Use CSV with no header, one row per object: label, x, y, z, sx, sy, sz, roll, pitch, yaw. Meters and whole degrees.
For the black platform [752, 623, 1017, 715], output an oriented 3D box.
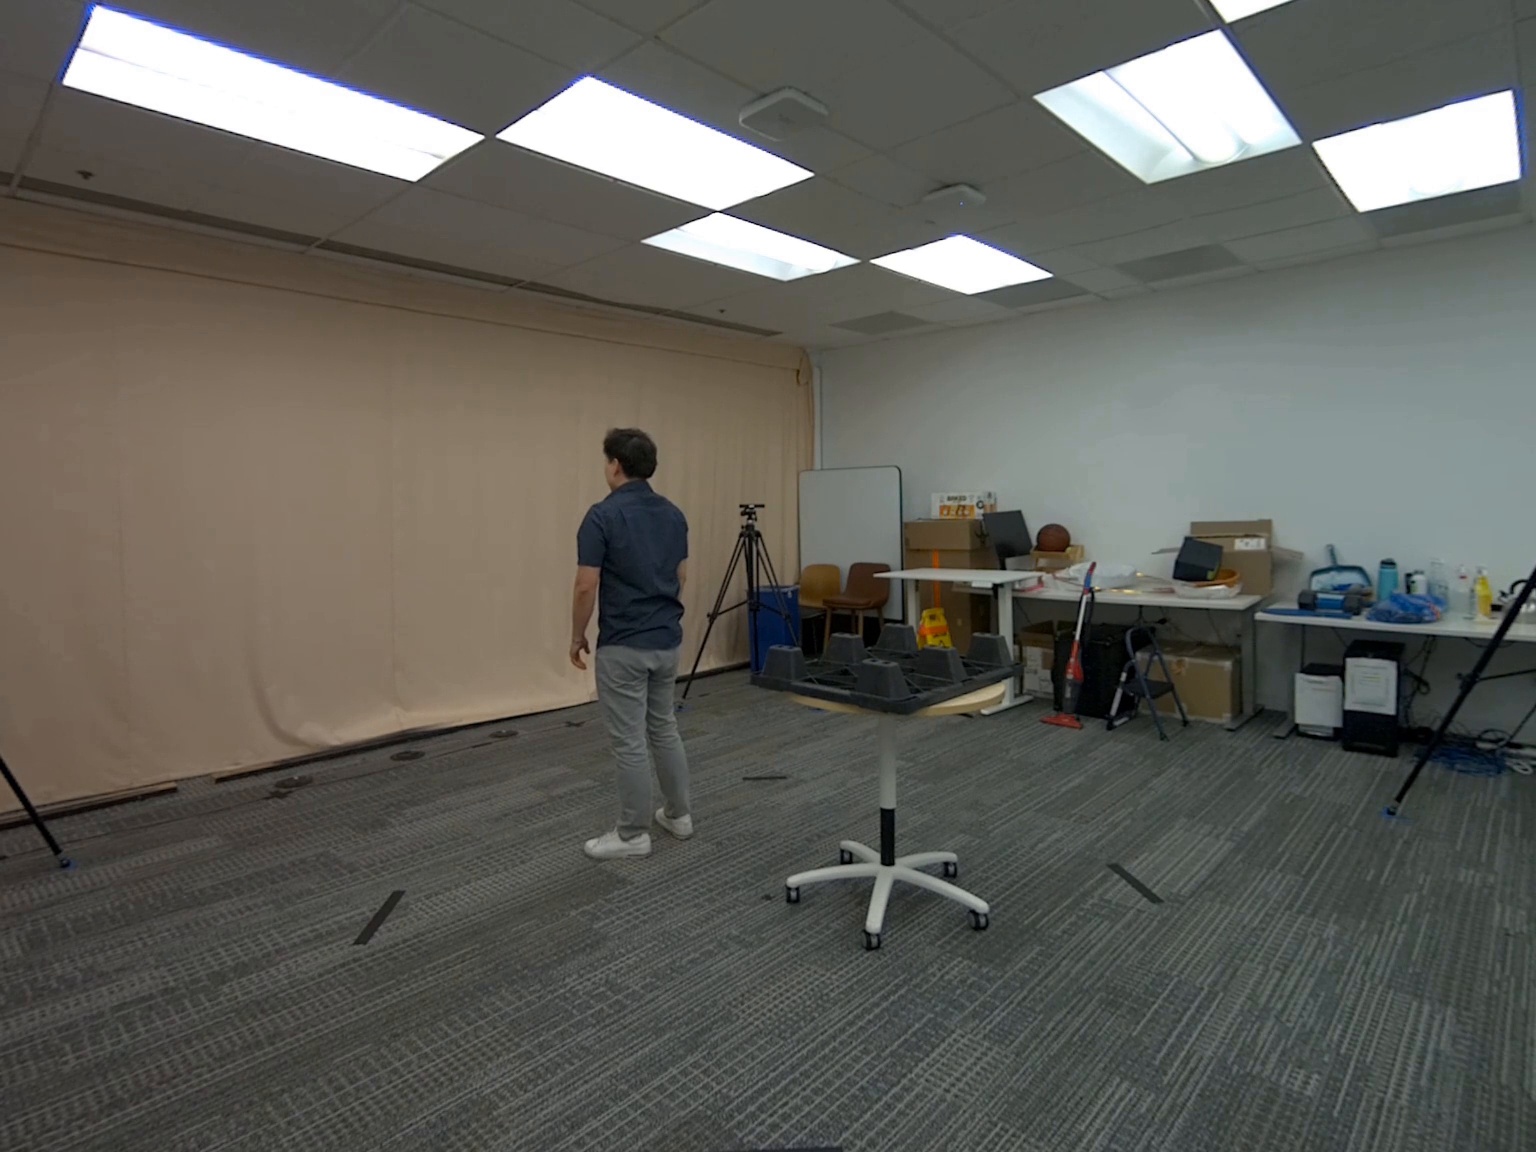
black platform,0.428,0.294,2.876,0.625,0.143,0.781,4,7,43
